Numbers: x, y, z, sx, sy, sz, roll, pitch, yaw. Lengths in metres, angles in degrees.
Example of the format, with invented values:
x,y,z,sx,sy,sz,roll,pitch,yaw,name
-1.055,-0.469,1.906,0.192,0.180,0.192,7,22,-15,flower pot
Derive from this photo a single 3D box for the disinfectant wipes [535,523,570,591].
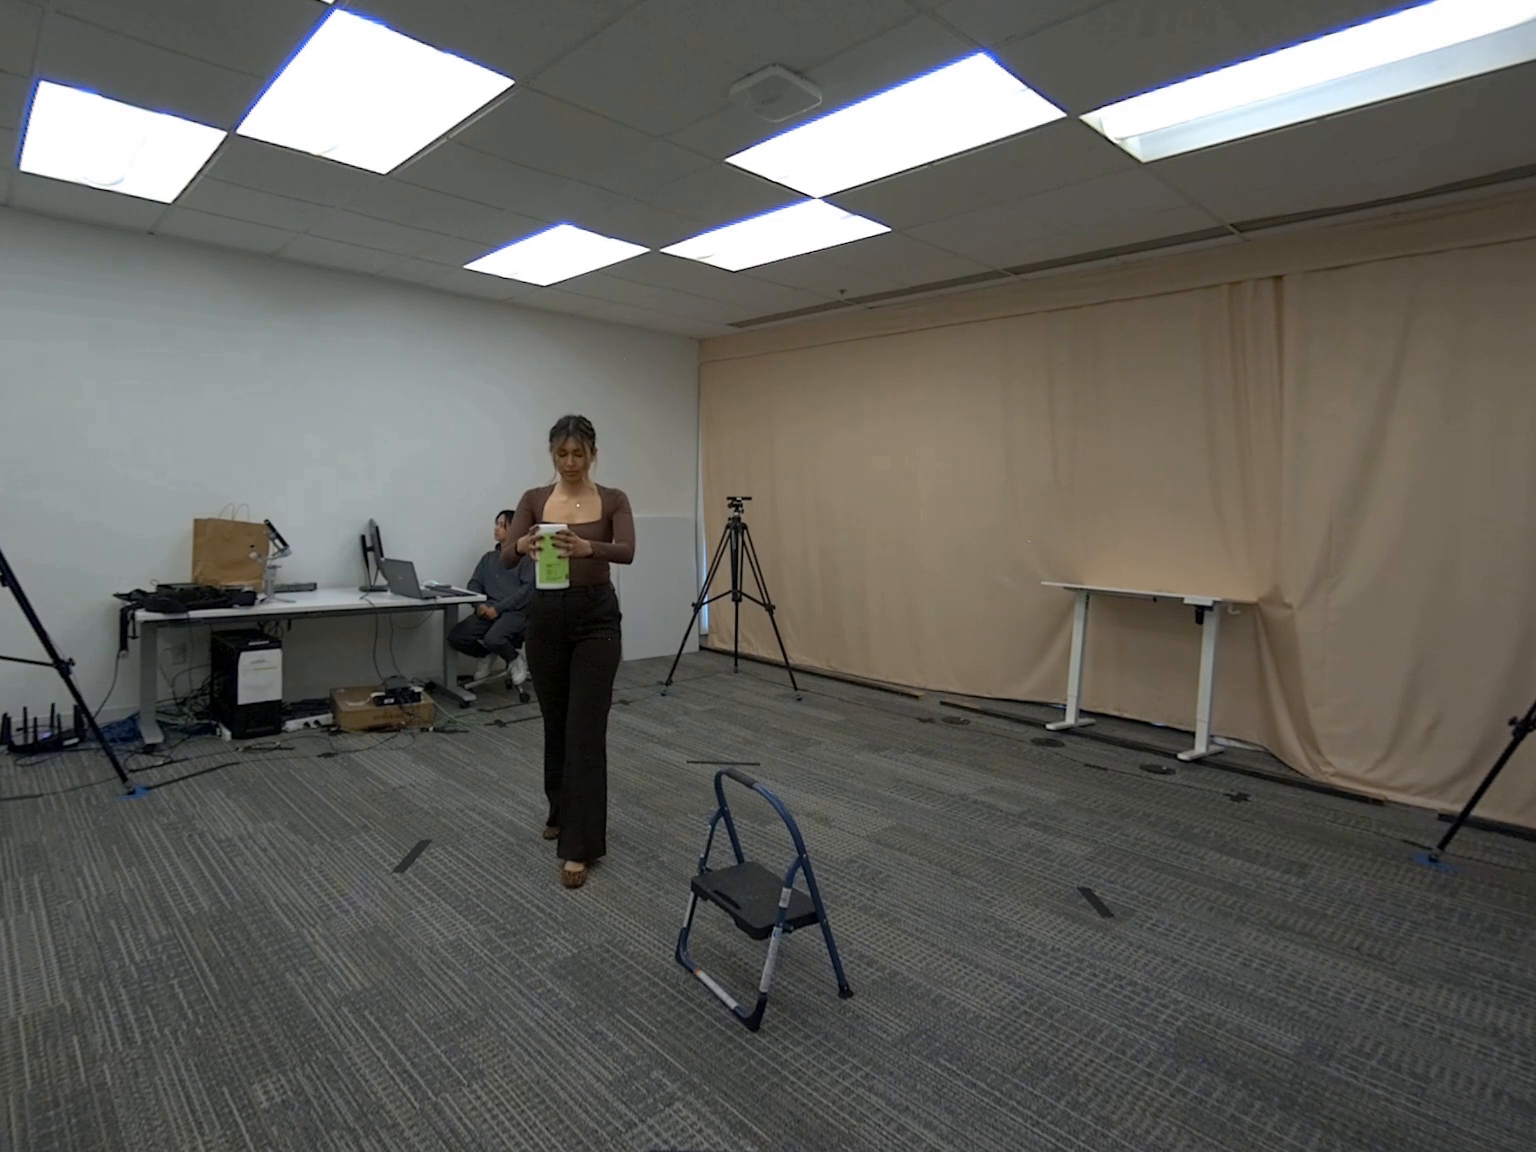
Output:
x,y,z,sx,sy,sz,roll,pitch,yaw,name
-0.736,-0.067,2.828,0.118,0.217,0.118,-2,2,-1,disinfectant wipes
